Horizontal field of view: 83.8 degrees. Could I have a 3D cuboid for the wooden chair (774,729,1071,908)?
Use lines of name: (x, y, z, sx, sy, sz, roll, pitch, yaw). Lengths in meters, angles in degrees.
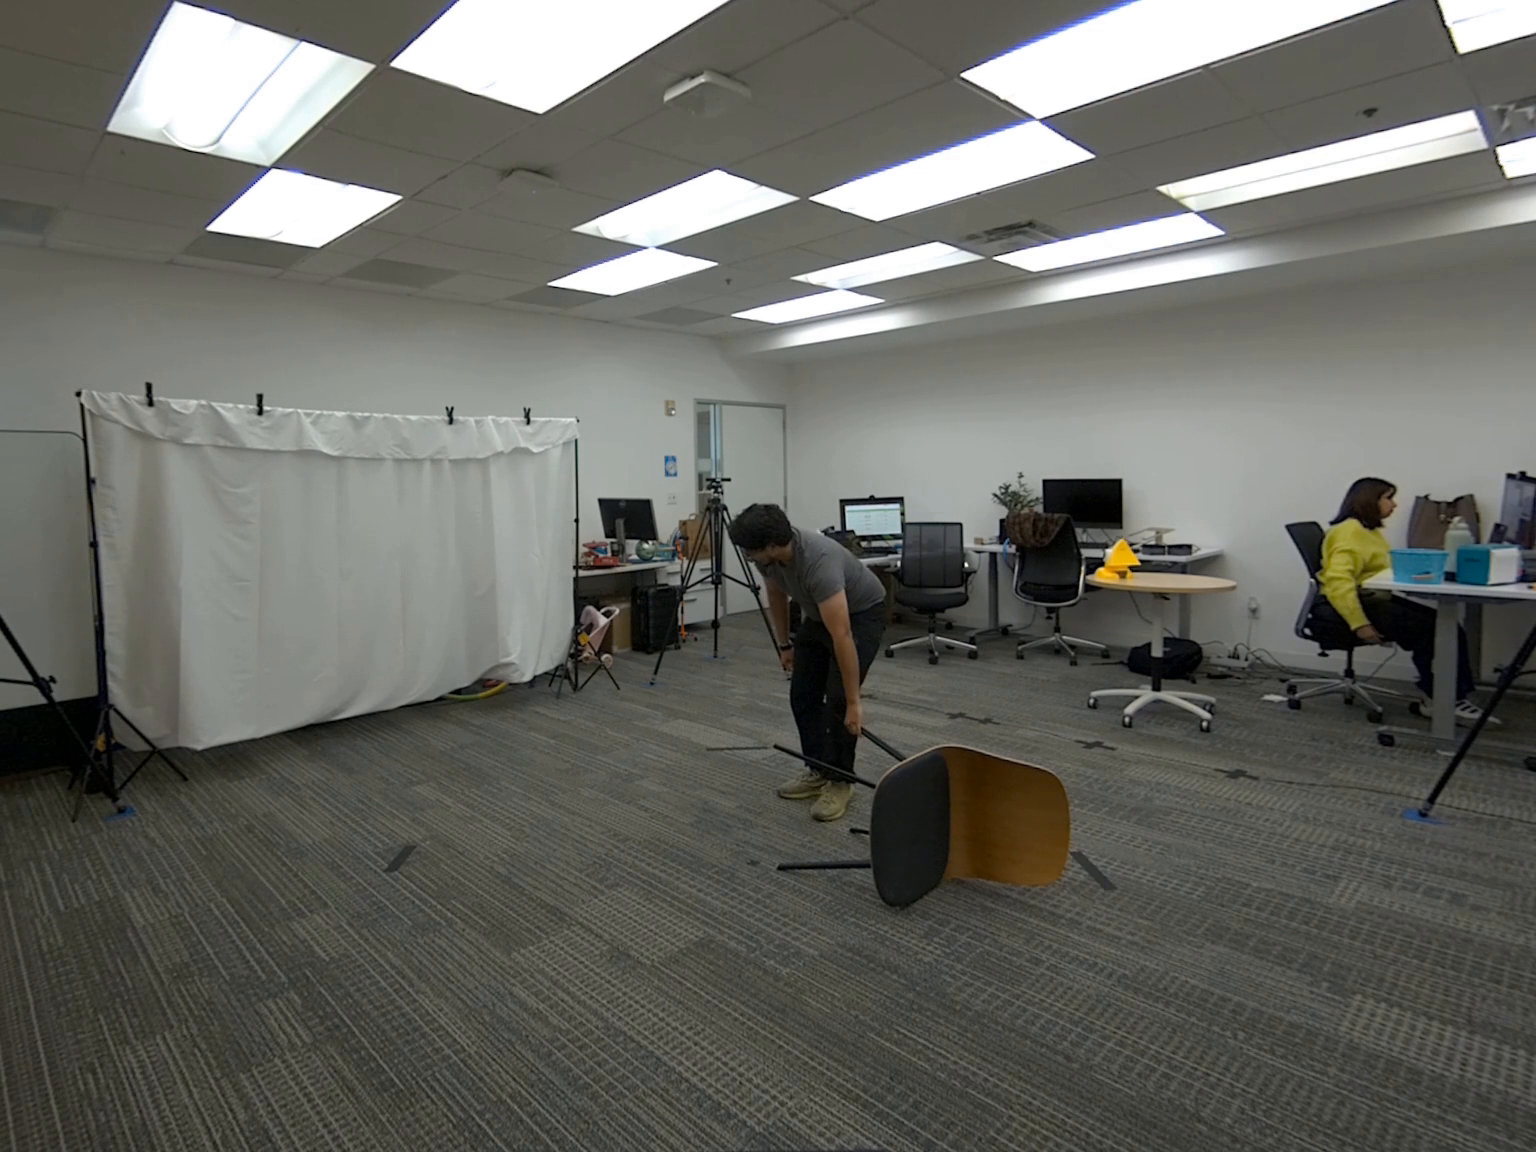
wooden chair: (0.494, 0.828, 2.892, 0.903, 0.477, 0.509, 2, 5, 38)
